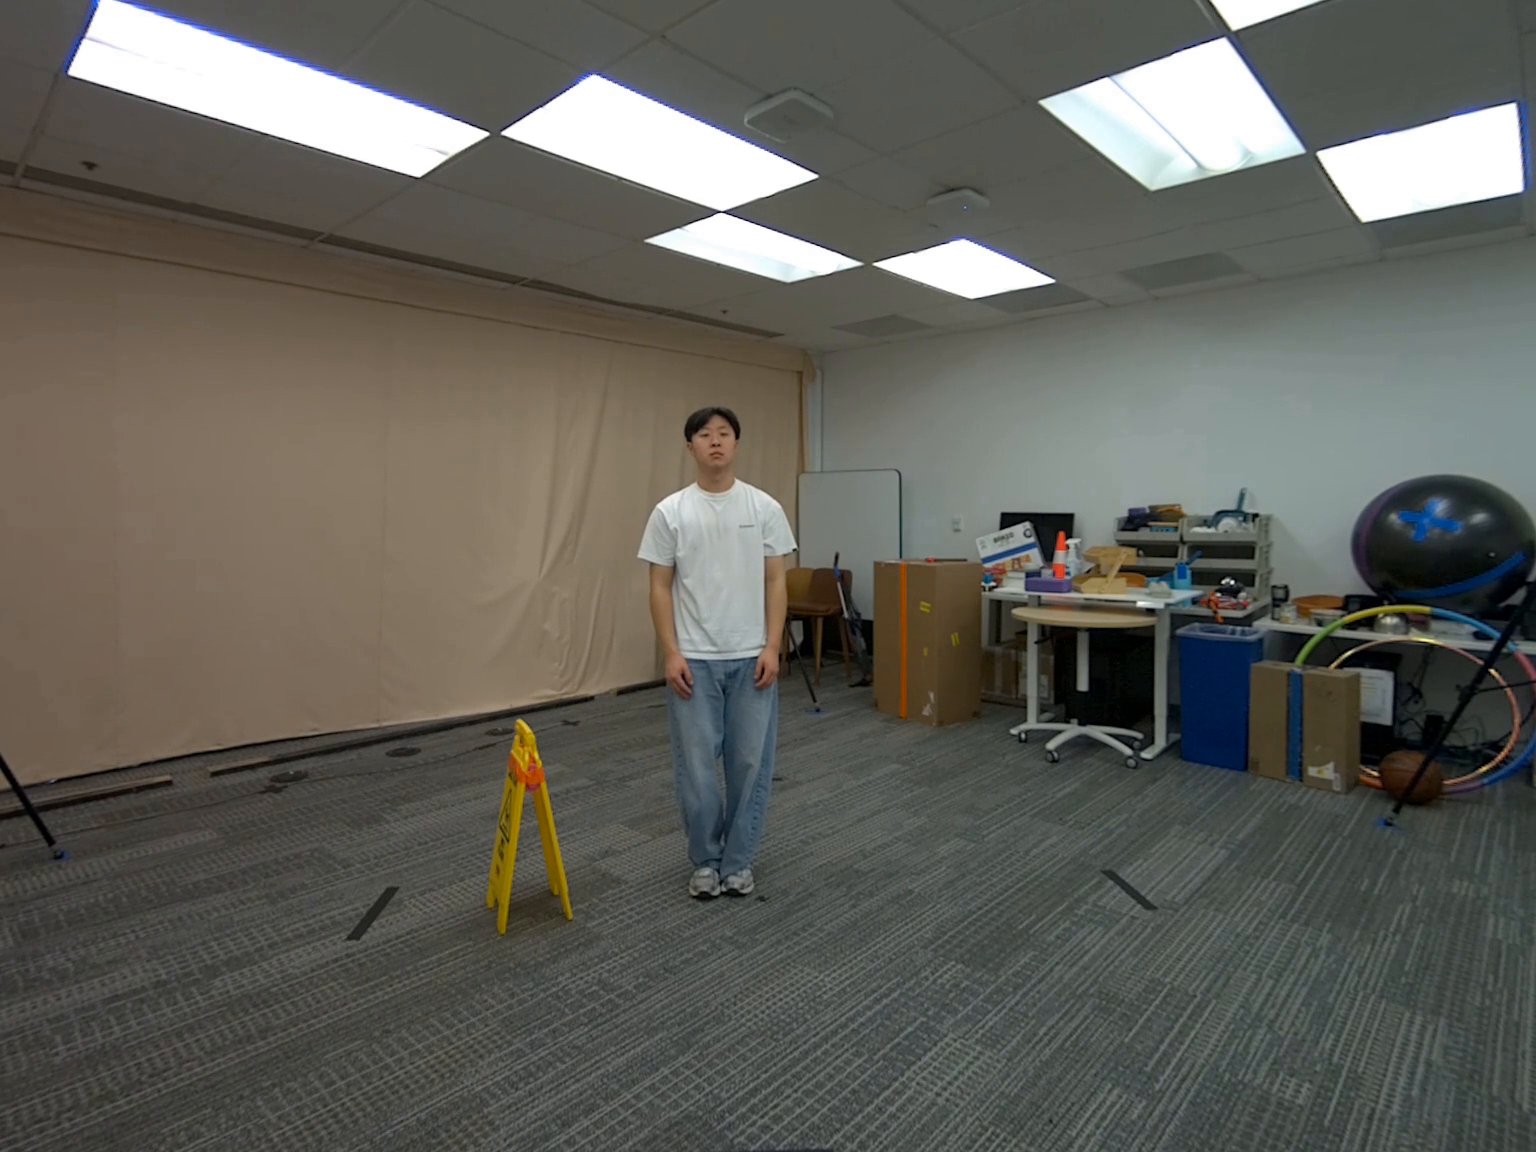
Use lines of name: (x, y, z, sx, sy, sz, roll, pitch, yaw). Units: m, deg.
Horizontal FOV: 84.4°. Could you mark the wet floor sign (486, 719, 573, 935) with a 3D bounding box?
wet floor sign: (-0.833, 0.832, 2.889, 0.283, 0.645, 0.289, -2, 3, -25)
